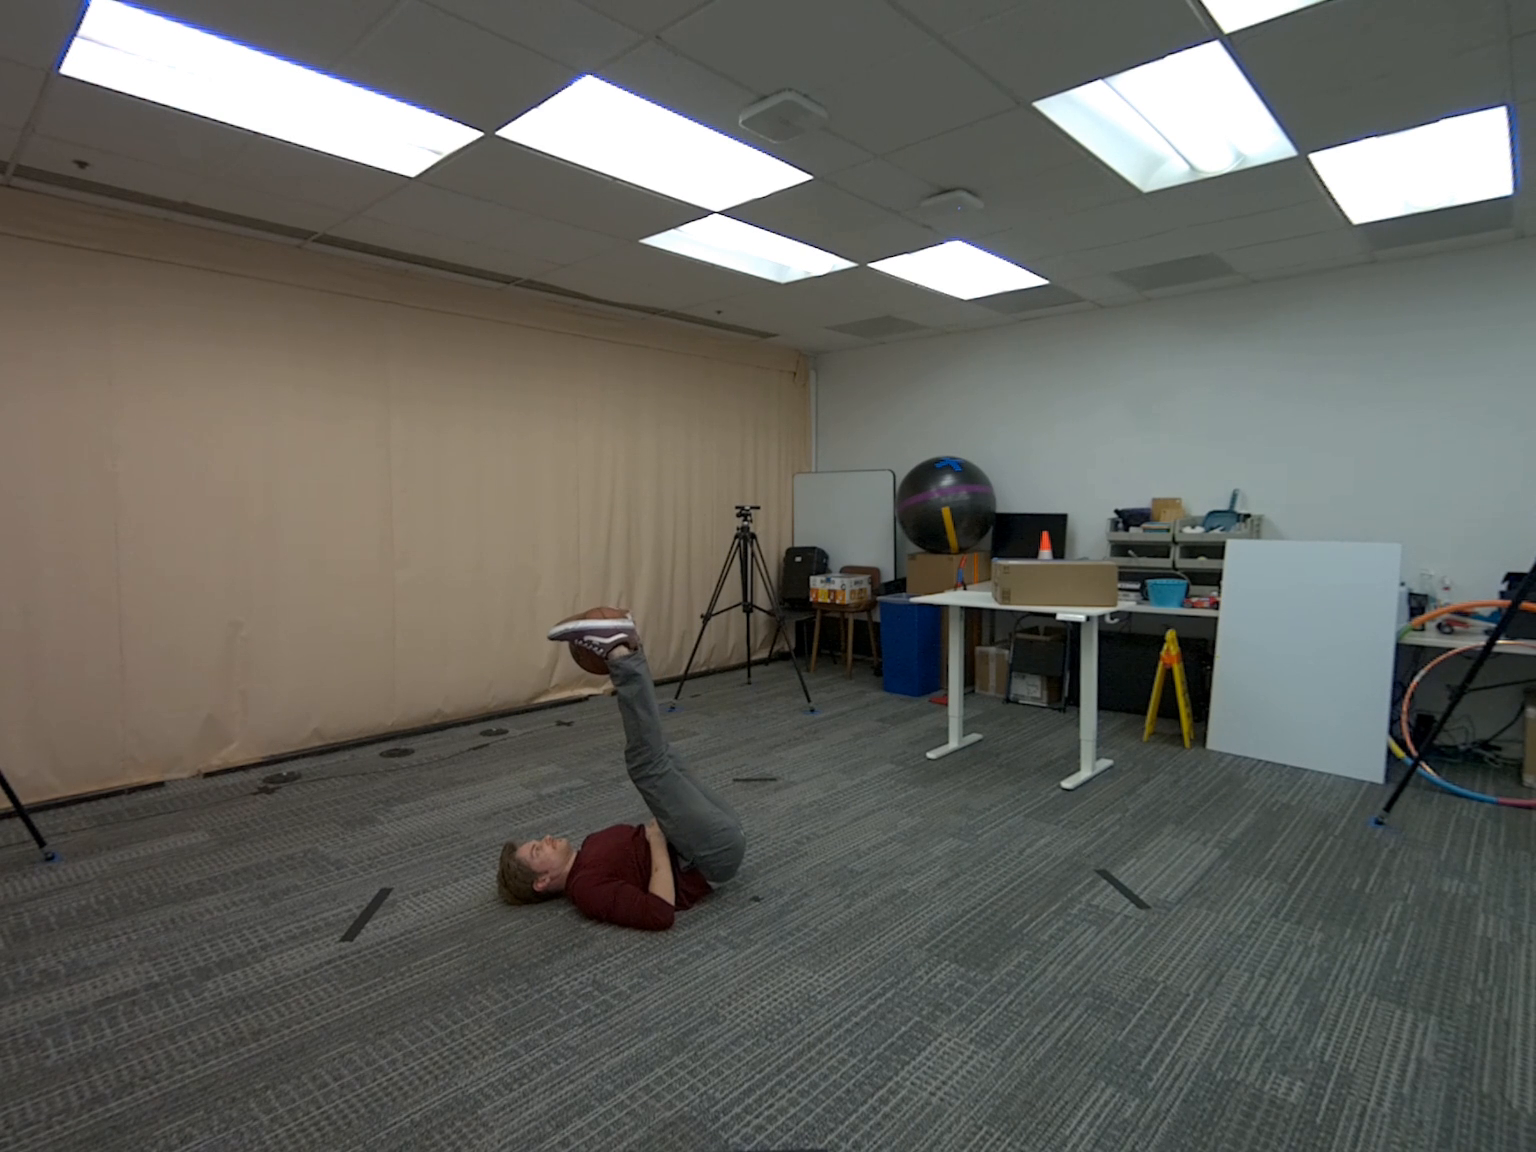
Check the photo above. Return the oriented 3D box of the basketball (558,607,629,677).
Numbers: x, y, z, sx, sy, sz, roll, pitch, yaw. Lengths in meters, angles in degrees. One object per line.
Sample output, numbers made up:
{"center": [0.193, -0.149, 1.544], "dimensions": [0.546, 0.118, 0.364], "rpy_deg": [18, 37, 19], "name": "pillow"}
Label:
{"center": [-0.570, 0.221, 2.961], "dimensions": [0.235, 0.235, 0.237], "rpy_deg": [3, 5, -2], "name": "basketball"}
